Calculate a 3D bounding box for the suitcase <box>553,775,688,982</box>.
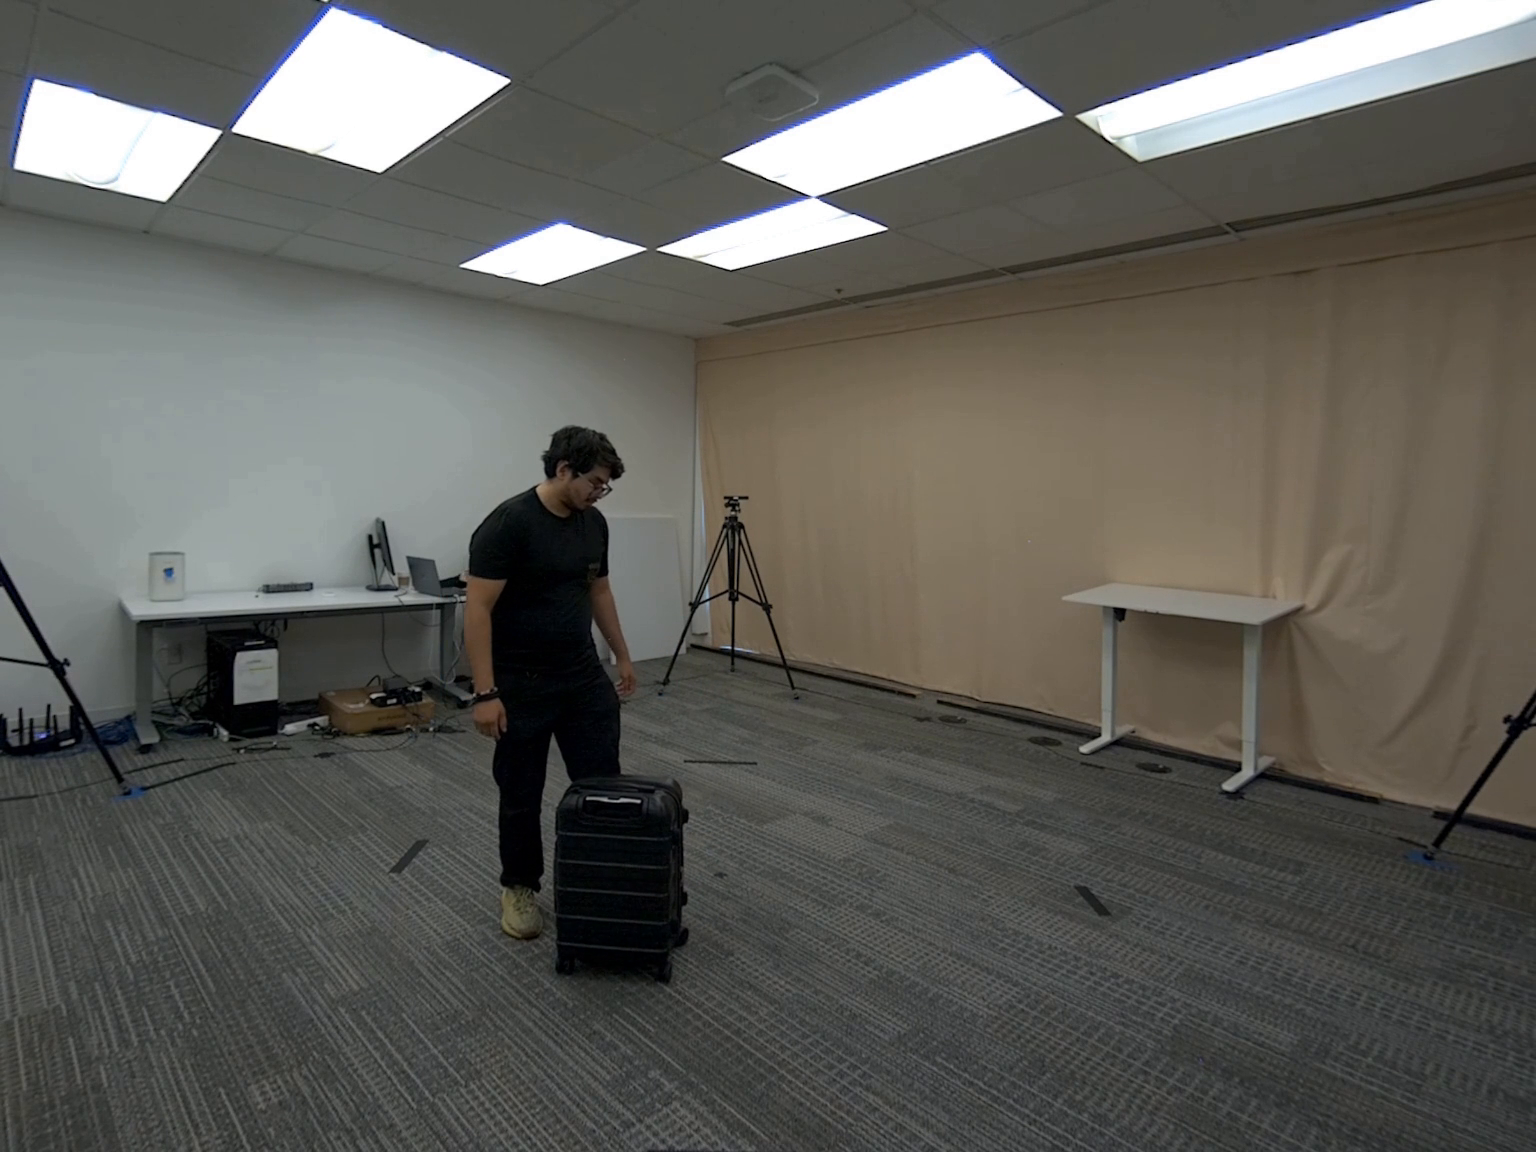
[{"bbox_3d":[-0.444,0.878,2.505,0.377,0.548,0.248,1,4,6],"label":"suitcase"}]
